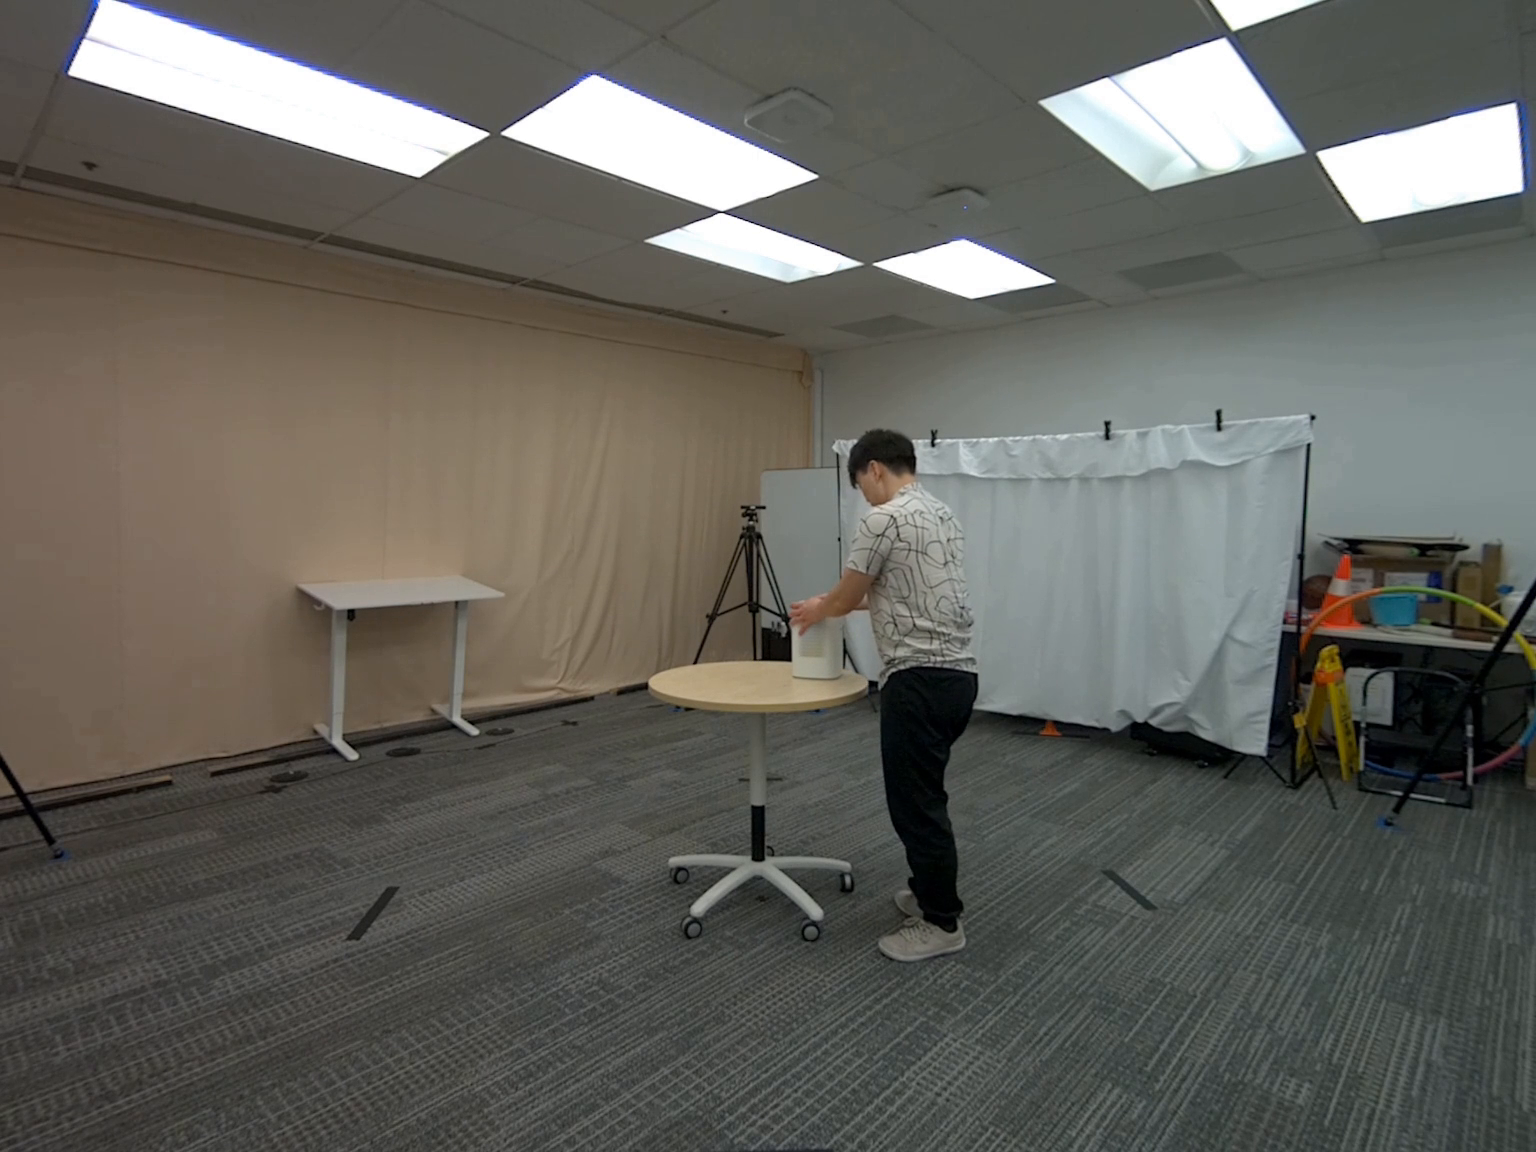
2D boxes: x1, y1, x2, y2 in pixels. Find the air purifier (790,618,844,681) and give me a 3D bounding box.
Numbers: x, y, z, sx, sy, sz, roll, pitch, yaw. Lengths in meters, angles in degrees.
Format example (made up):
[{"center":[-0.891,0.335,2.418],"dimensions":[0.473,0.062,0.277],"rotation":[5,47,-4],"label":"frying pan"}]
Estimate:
[{"center":[0.184,0.228,3.030],"dimensions":[0.175,0.265,0.168],"rotation":[2,2,18],"label":"air purifier"}]
